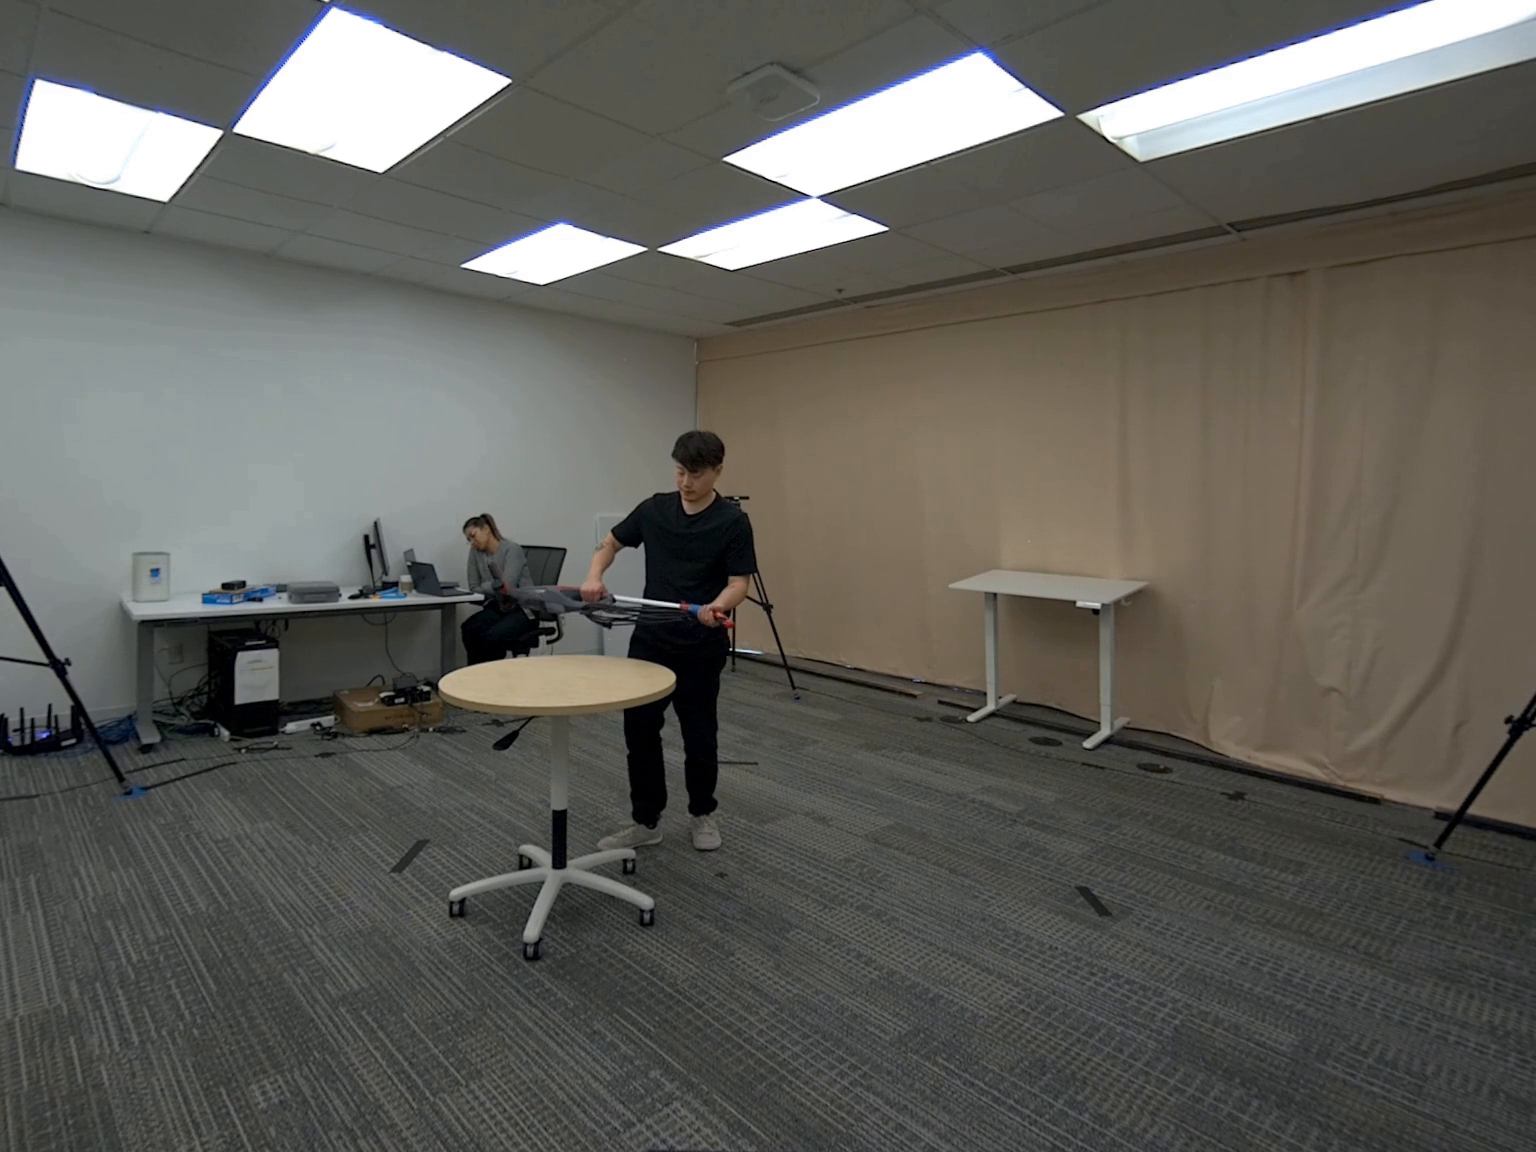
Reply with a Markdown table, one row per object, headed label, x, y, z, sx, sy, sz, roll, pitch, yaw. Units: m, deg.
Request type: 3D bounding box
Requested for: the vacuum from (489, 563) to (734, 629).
| label | x | y | z | sx | sy | sz | roll | pitch | yaw |
| --- | --- | --- | --- | --- | --- | --- | --- | --- | --- |
| vacuum | -0.619 | 0.122 | 3.183 | 1.072 | 0.246 | 0.145 | 8 | 45 | 26 |
